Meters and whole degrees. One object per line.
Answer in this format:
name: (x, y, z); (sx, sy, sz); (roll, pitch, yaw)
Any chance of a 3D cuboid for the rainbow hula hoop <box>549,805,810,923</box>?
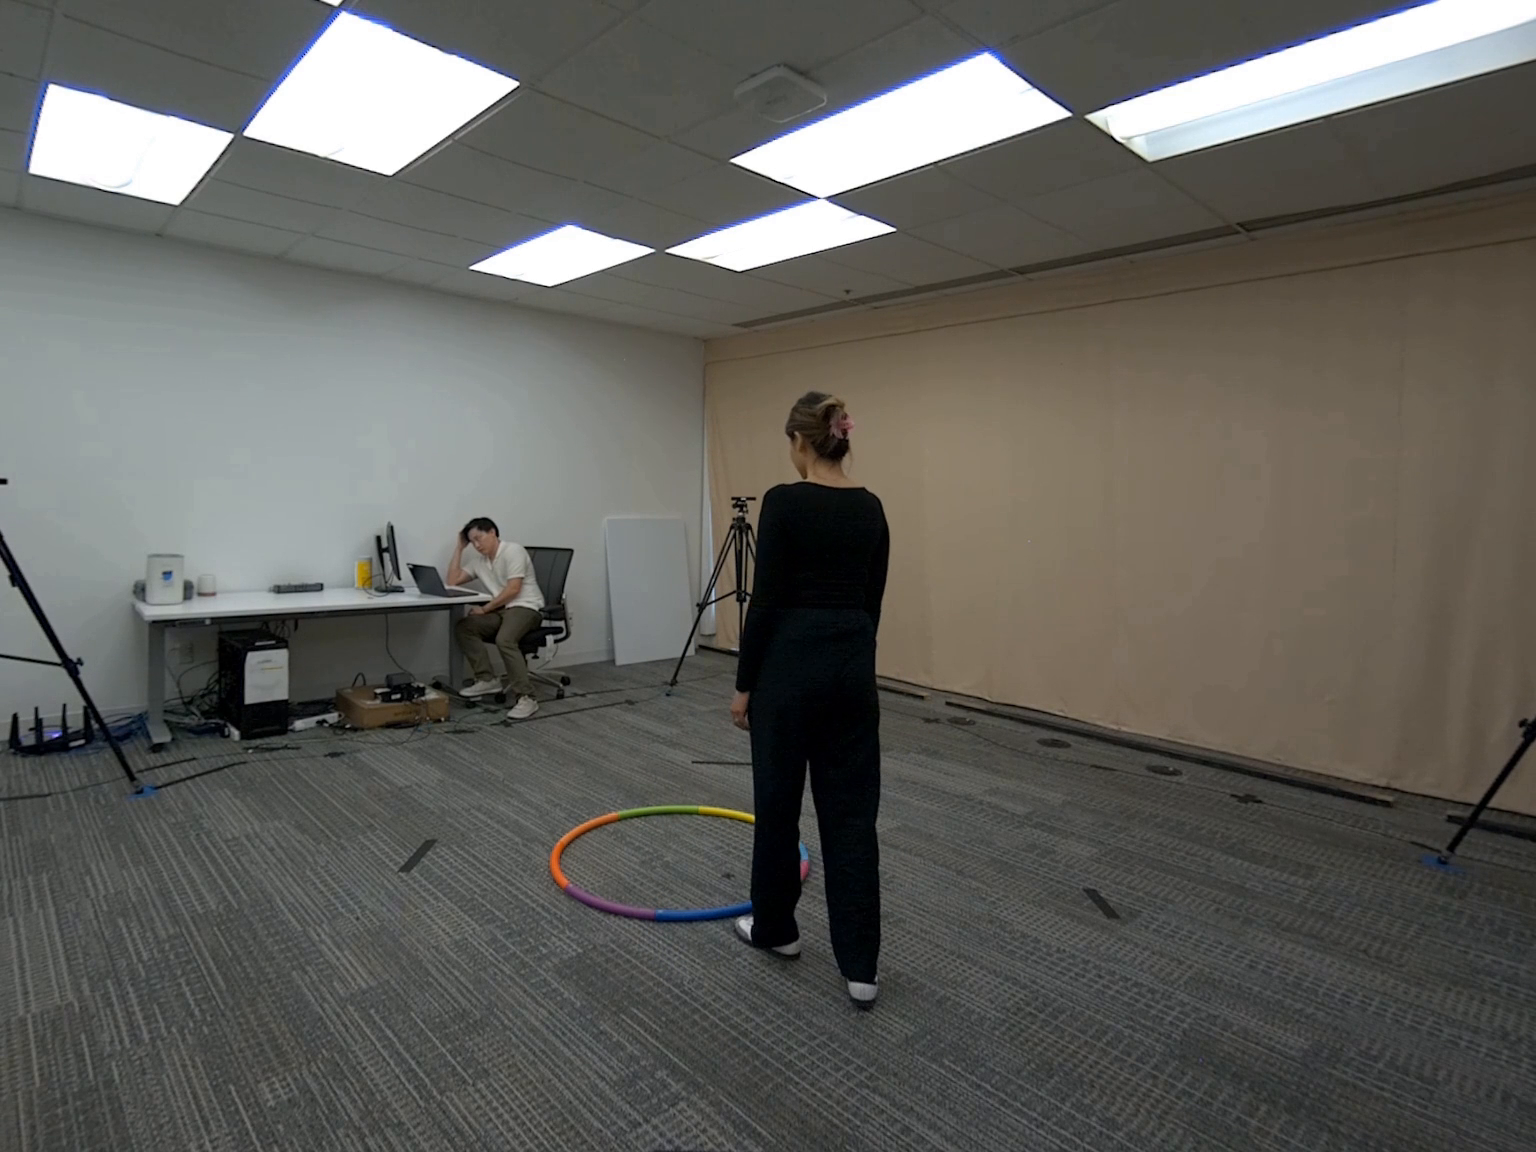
rainbow hula hoop: (-0.341, 1.063, 3.242); (0.978, 0.035, 0.982); (2, 5, -1)
